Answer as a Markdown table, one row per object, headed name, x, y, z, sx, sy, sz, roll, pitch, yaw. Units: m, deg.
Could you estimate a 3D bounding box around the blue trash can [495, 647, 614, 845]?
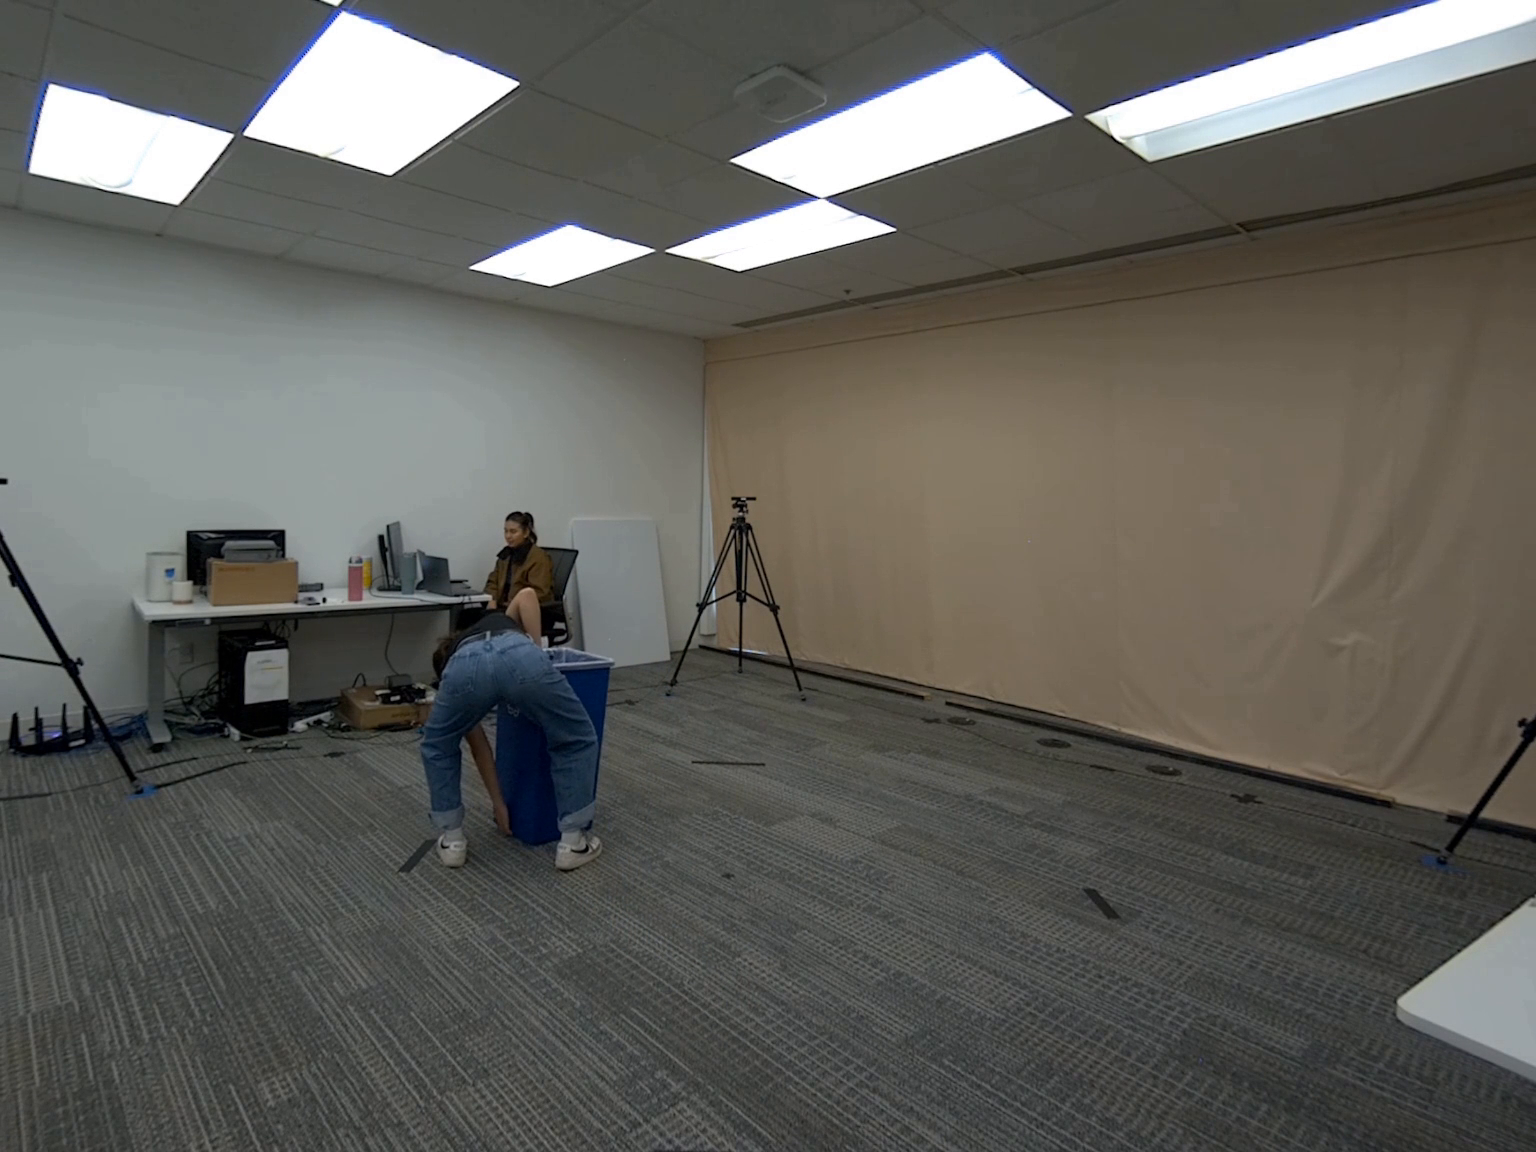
| name | x | y | z | sx | sy | sz | roll | pitch | yaw |
| --- | --- | --- | --- | --- | --- | --- | --- | --- | --- |
| blue trash can | -0.921 | 0.689 | 3.524 | 0.388 | 0.713 | 0.365 | 5 | 2 | 43 |
